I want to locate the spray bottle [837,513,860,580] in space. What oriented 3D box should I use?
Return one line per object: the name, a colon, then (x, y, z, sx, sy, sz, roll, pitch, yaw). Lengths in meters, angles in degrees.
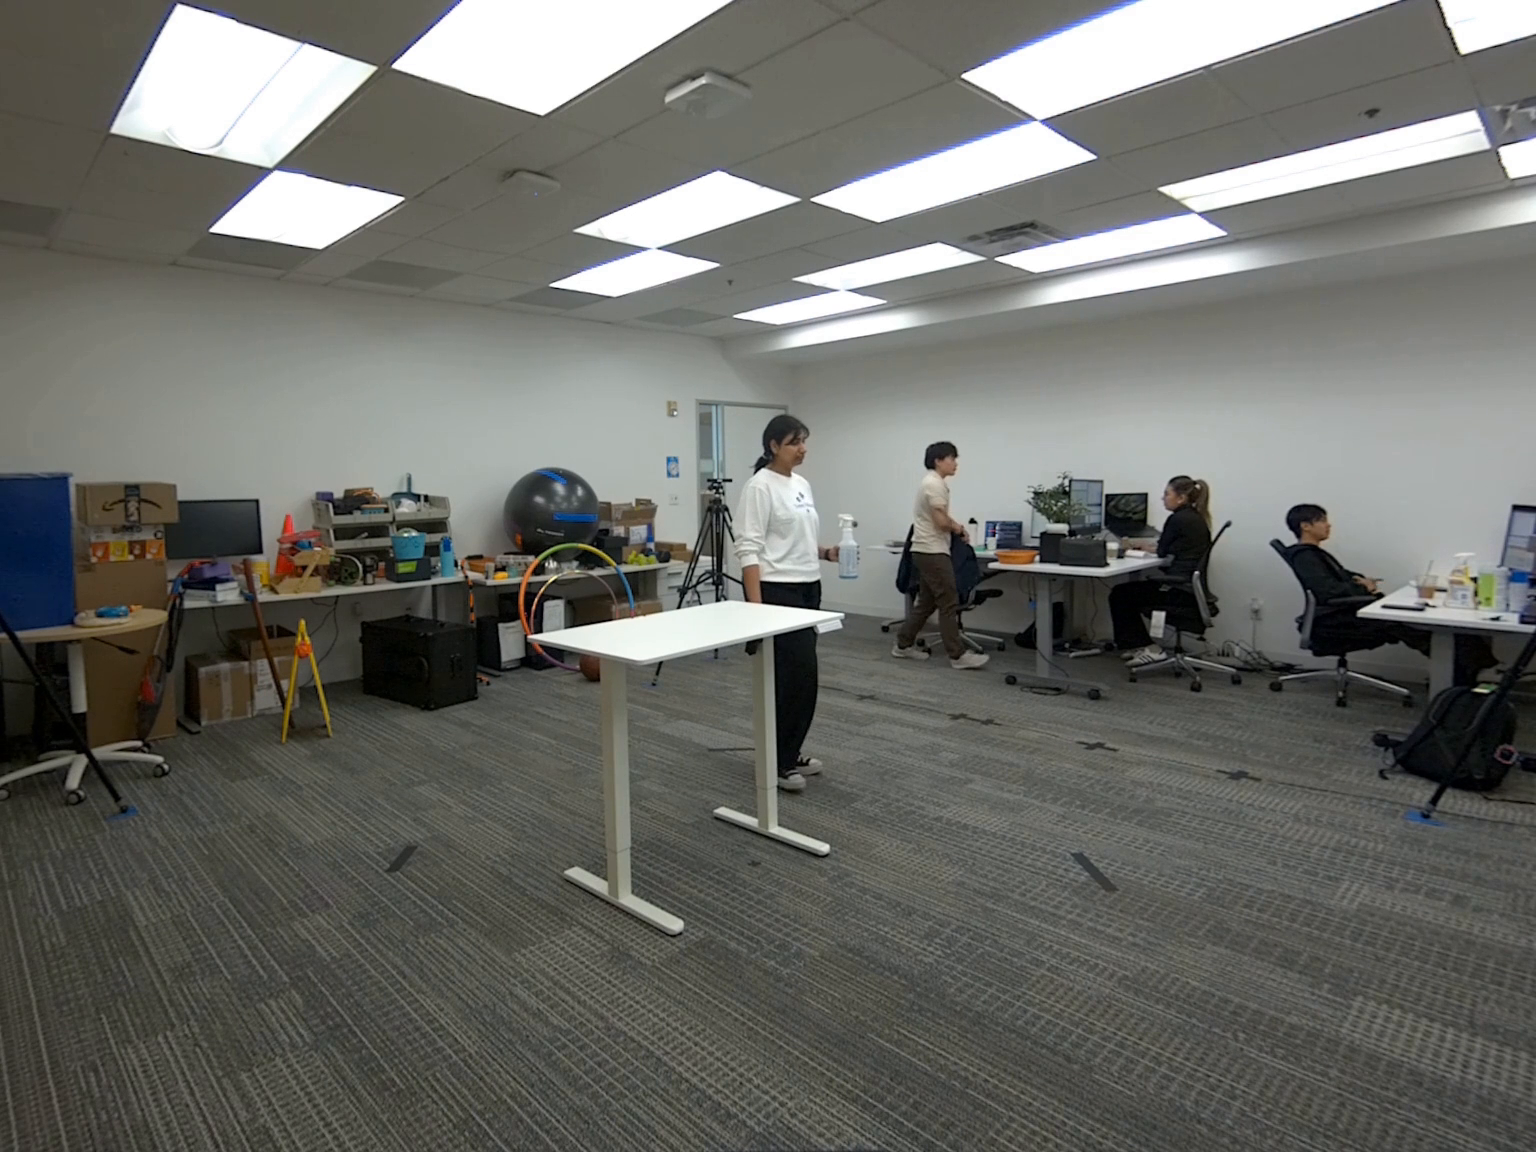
spray bottle: (0.359, -0.135, 3.939, 0.089, 0.296, 0.088, -5, 3, -13)
